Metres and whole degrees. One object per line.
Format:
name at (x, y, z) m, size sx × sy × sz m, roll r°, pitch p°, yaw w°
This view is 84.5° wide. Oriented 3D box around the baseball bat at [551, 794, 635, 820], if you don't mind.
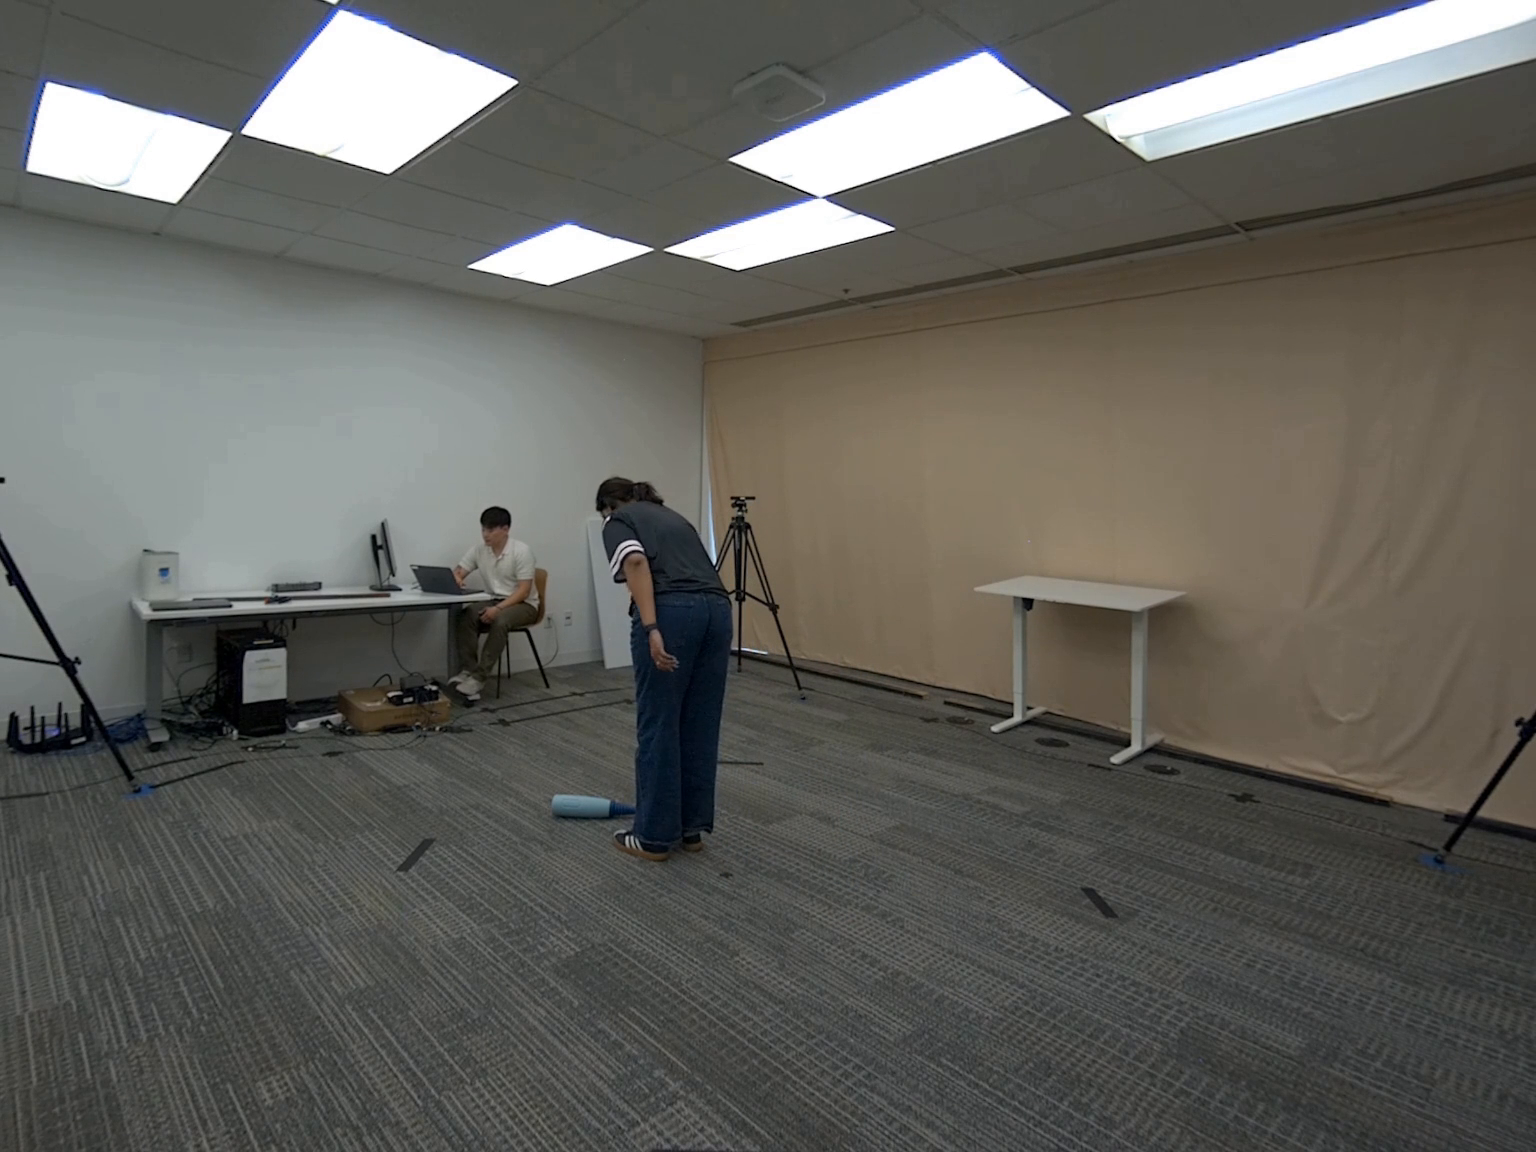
baseball bat at (-0.671, 1.010, 3.640) m, size 0.542 × 0.089 × 0.089 m, roll 5°, pitch 4°, yaw -2°
